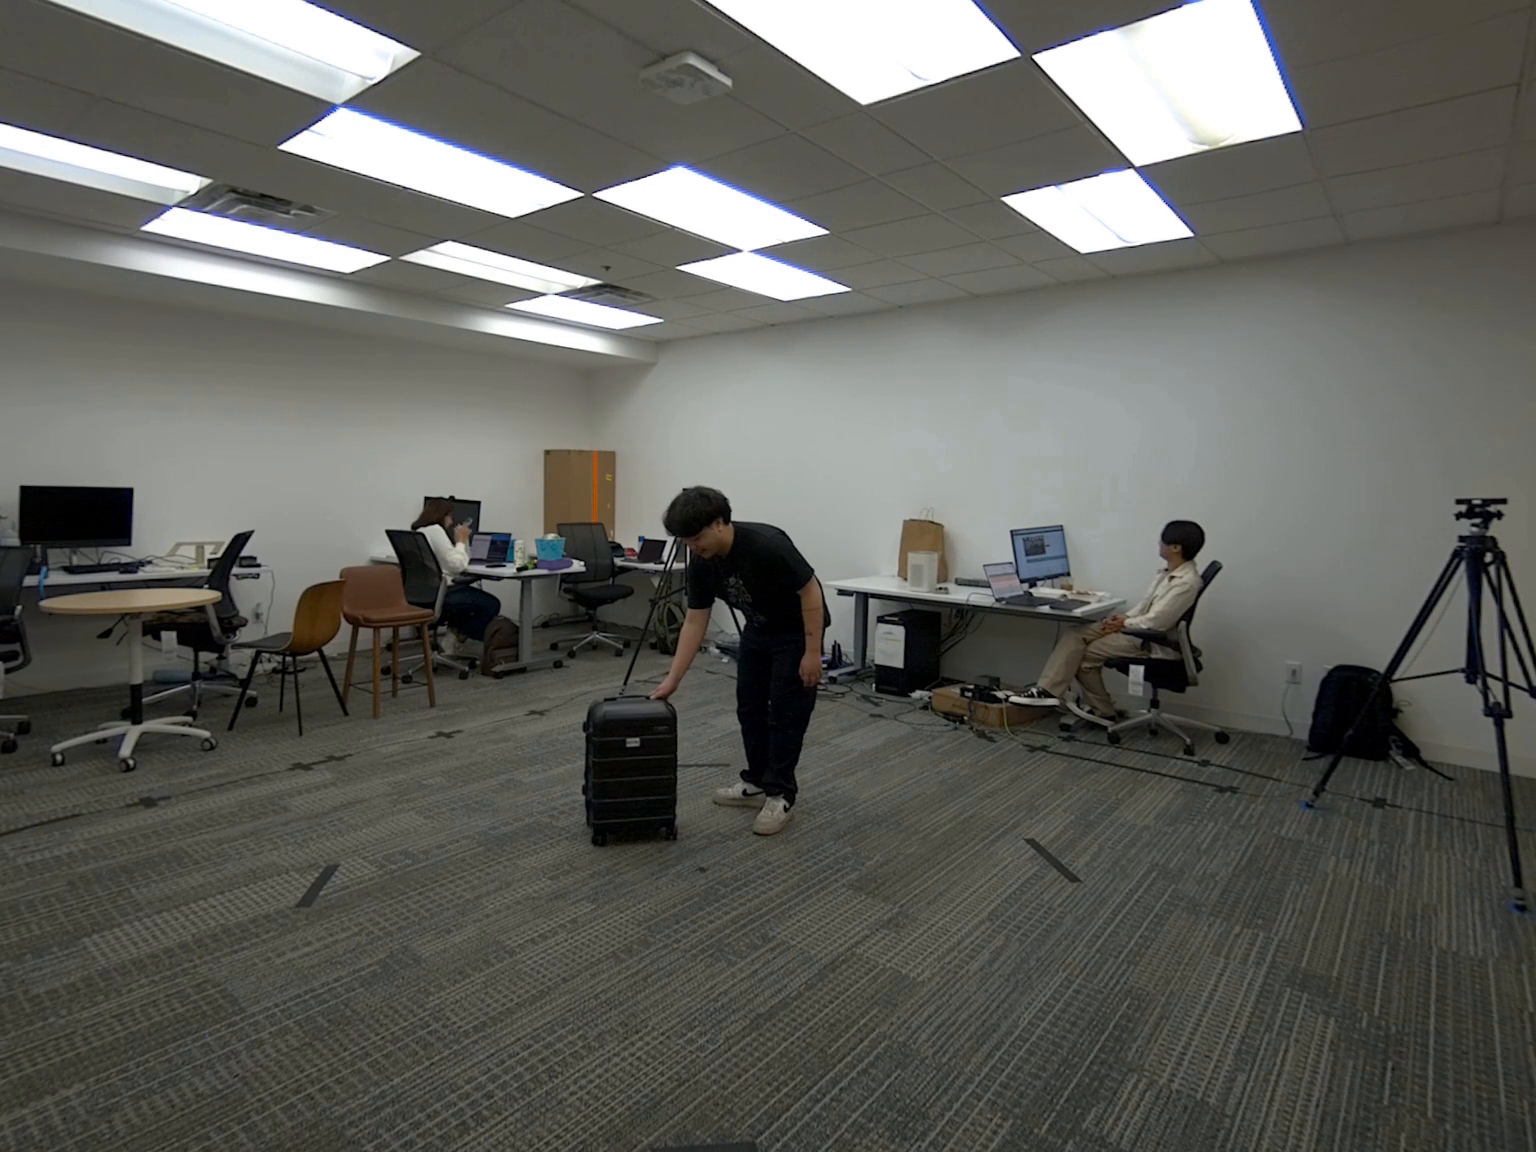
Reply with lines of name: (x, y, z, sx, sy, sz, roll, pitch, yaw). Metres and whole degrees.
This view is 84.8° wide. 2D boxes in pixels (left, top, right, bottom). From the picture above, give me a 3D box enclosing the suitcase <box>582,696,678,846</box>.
suitcase: (-0.559, 0.761, 3.414, 0.369, 0.547, 0.254, 1, 6, -16)
